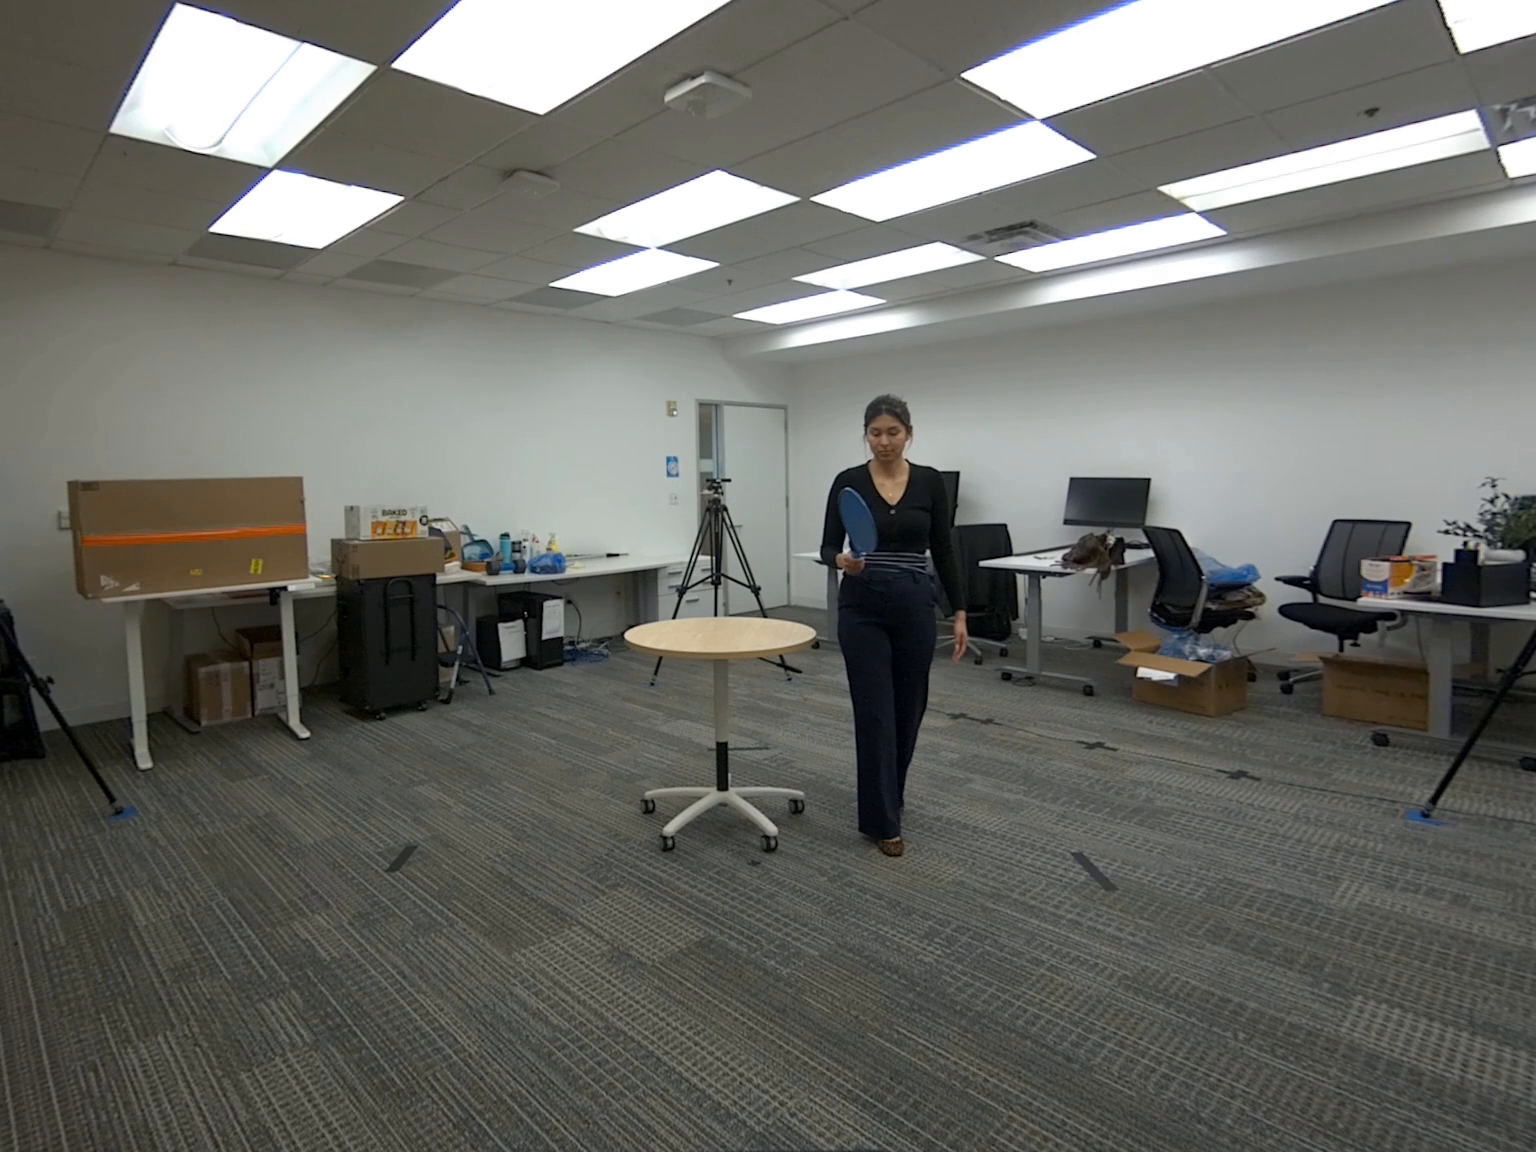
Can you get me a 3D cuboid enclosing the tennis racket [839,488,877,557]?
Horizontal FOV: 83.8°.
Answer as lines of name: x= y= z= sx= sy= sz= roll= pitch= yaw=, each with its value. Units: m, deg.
tennis racket: x=0.318 y=-0.138 z=2.906 sx=0.031 sy=0.221 sz=0.419 roll=-24 pitch=-34 yaw=-7
